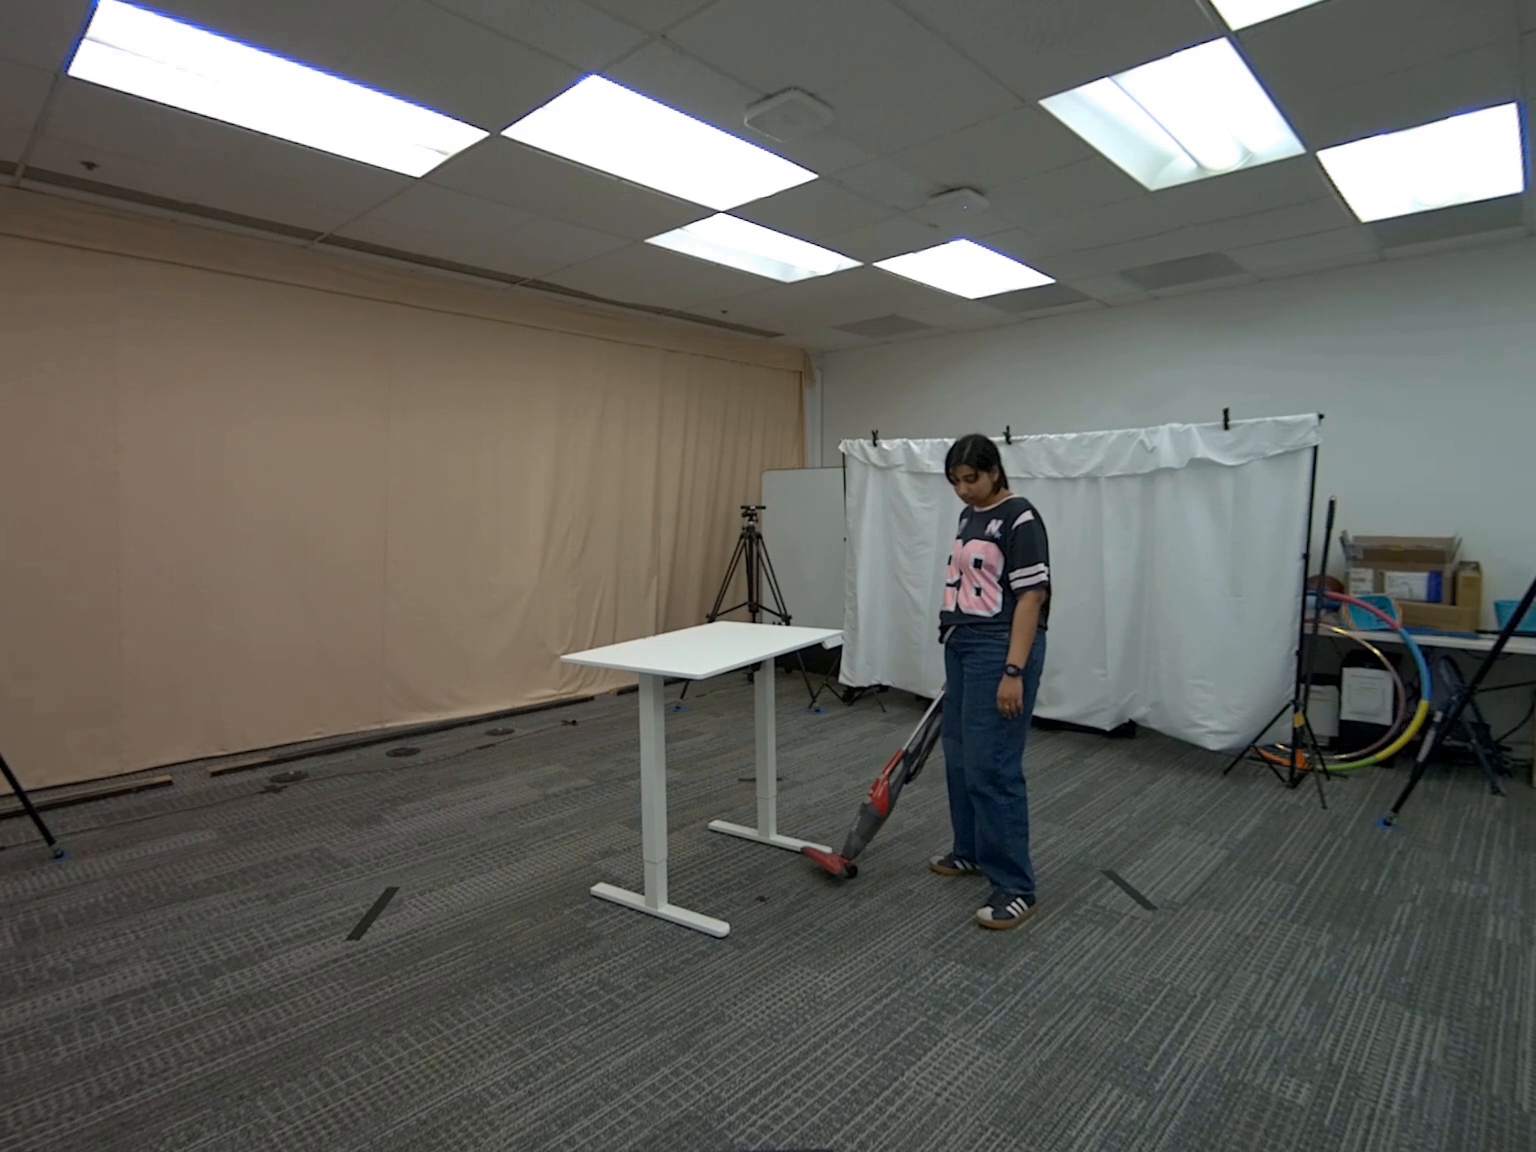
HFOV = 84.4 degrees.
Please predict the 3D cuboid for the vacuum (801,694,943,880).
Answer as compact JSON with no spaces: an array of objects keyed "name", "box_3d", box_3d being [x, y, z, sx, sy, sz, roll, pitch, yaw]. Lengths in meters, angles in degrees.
[{"name":"vacuum","box_3d":[0.559,0.712,3.306,0.141,1.046,0.259,45,-15,-20]}]
